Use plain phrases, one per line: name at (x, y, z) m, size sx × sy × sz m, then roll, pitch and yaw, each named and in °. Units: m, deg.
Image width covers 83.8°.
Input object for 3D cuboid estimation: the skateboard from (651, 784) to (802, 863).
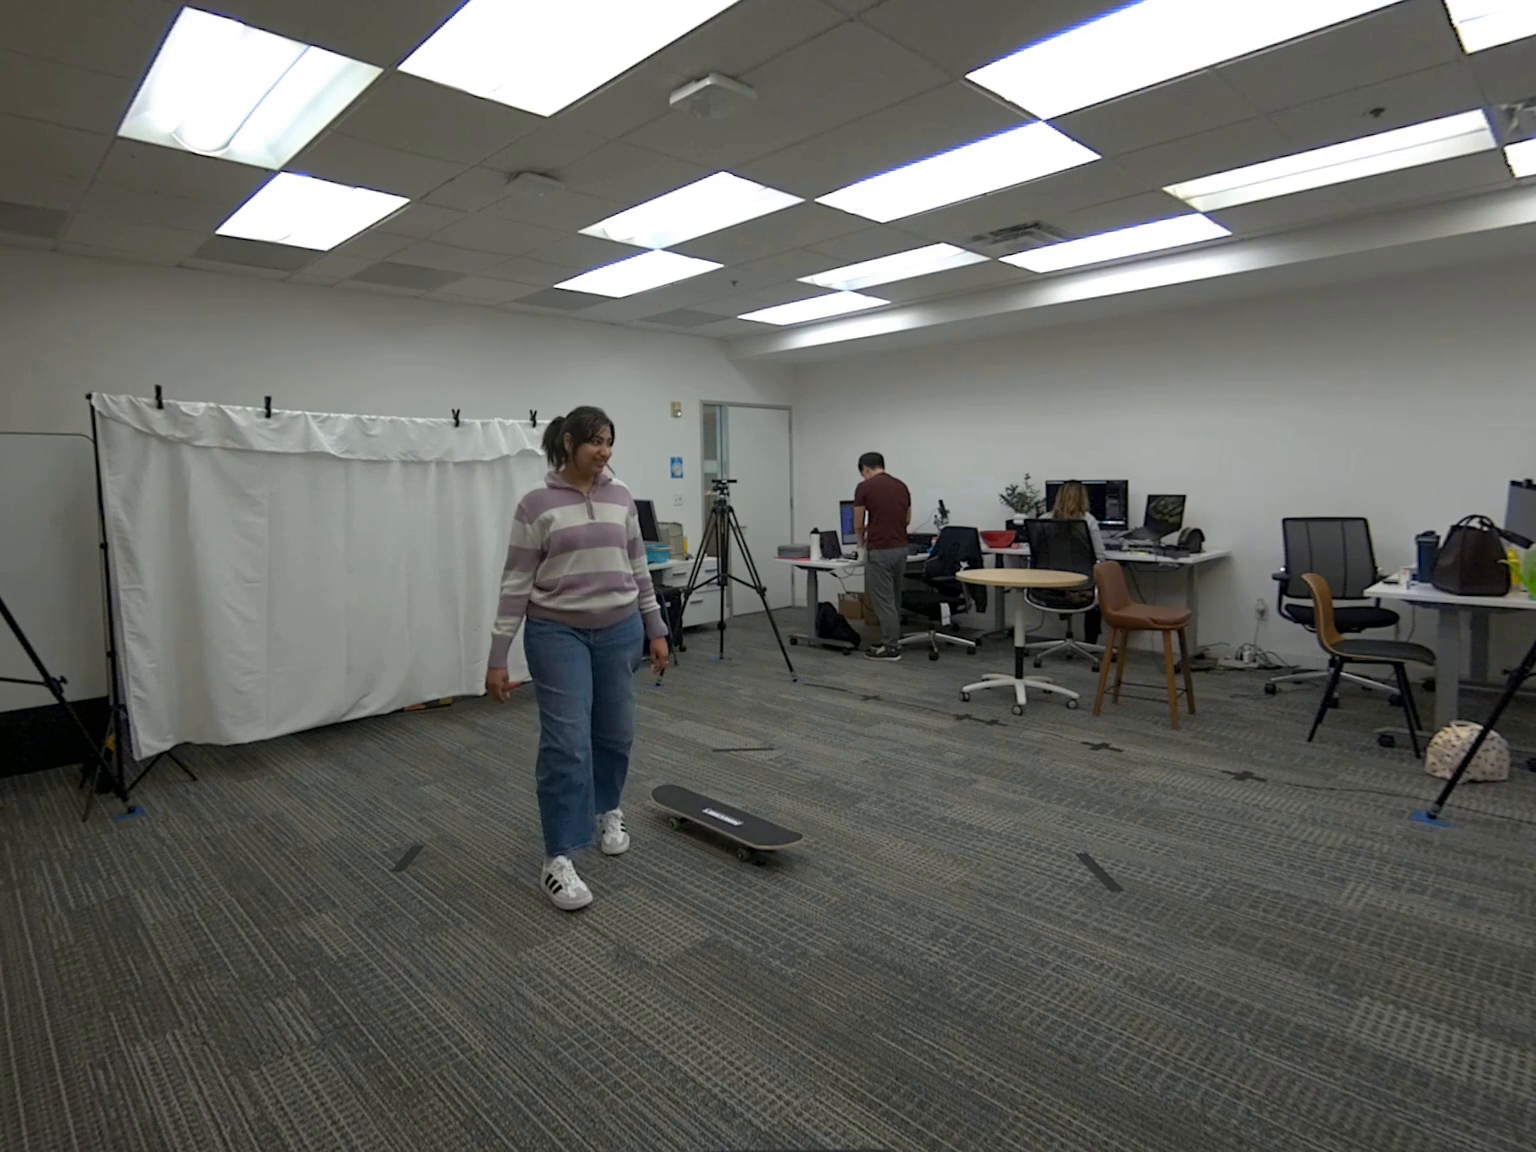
skateboard at (-0.176, 0.971, 3.326) m, size 0.188 × 0.110 × 0.810 m, roll -6°, pitch 8°, yaw -44°
